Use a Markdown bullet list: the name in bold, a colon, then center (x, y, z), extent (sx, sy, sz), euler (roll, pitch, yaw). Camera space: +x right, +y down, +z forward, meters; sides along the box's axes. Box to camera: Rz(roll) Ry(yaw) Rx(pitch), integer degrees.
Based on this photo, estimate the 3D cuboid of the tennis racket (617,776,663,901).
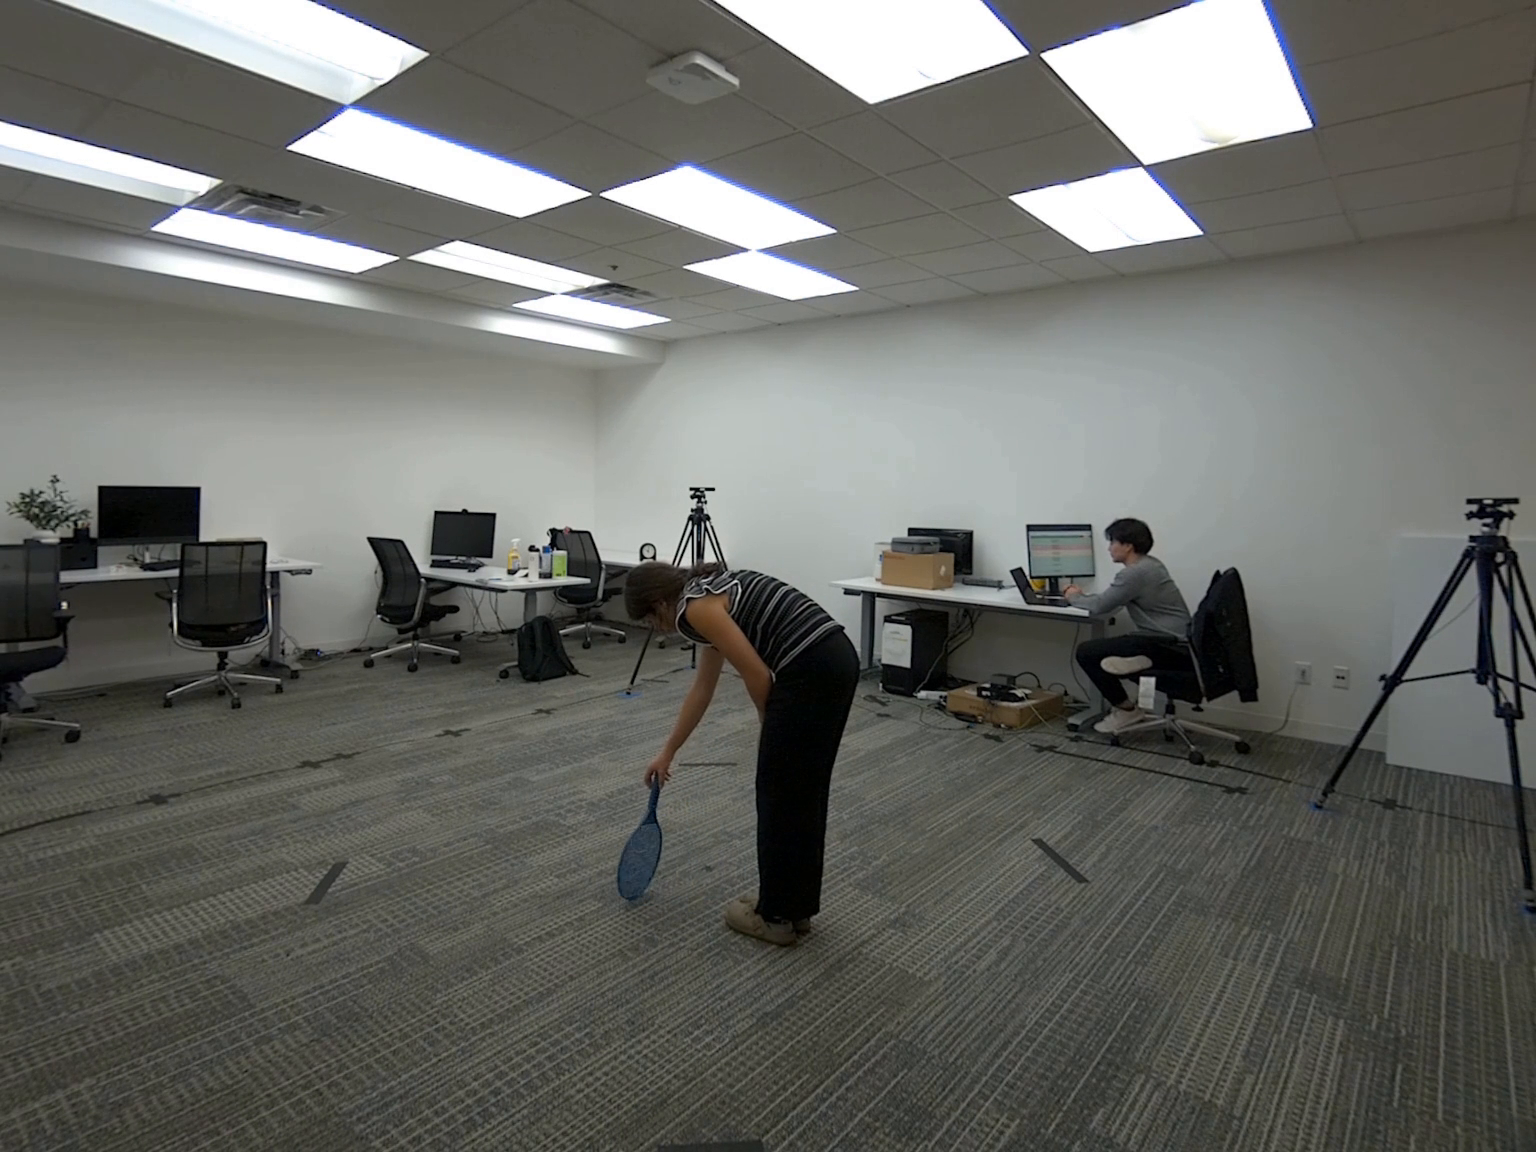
- **tennis racket**: center (-0.416, 0.871, 2.874), extent (0.033, 0.434, 0.206), euler (10, -6, 33)
